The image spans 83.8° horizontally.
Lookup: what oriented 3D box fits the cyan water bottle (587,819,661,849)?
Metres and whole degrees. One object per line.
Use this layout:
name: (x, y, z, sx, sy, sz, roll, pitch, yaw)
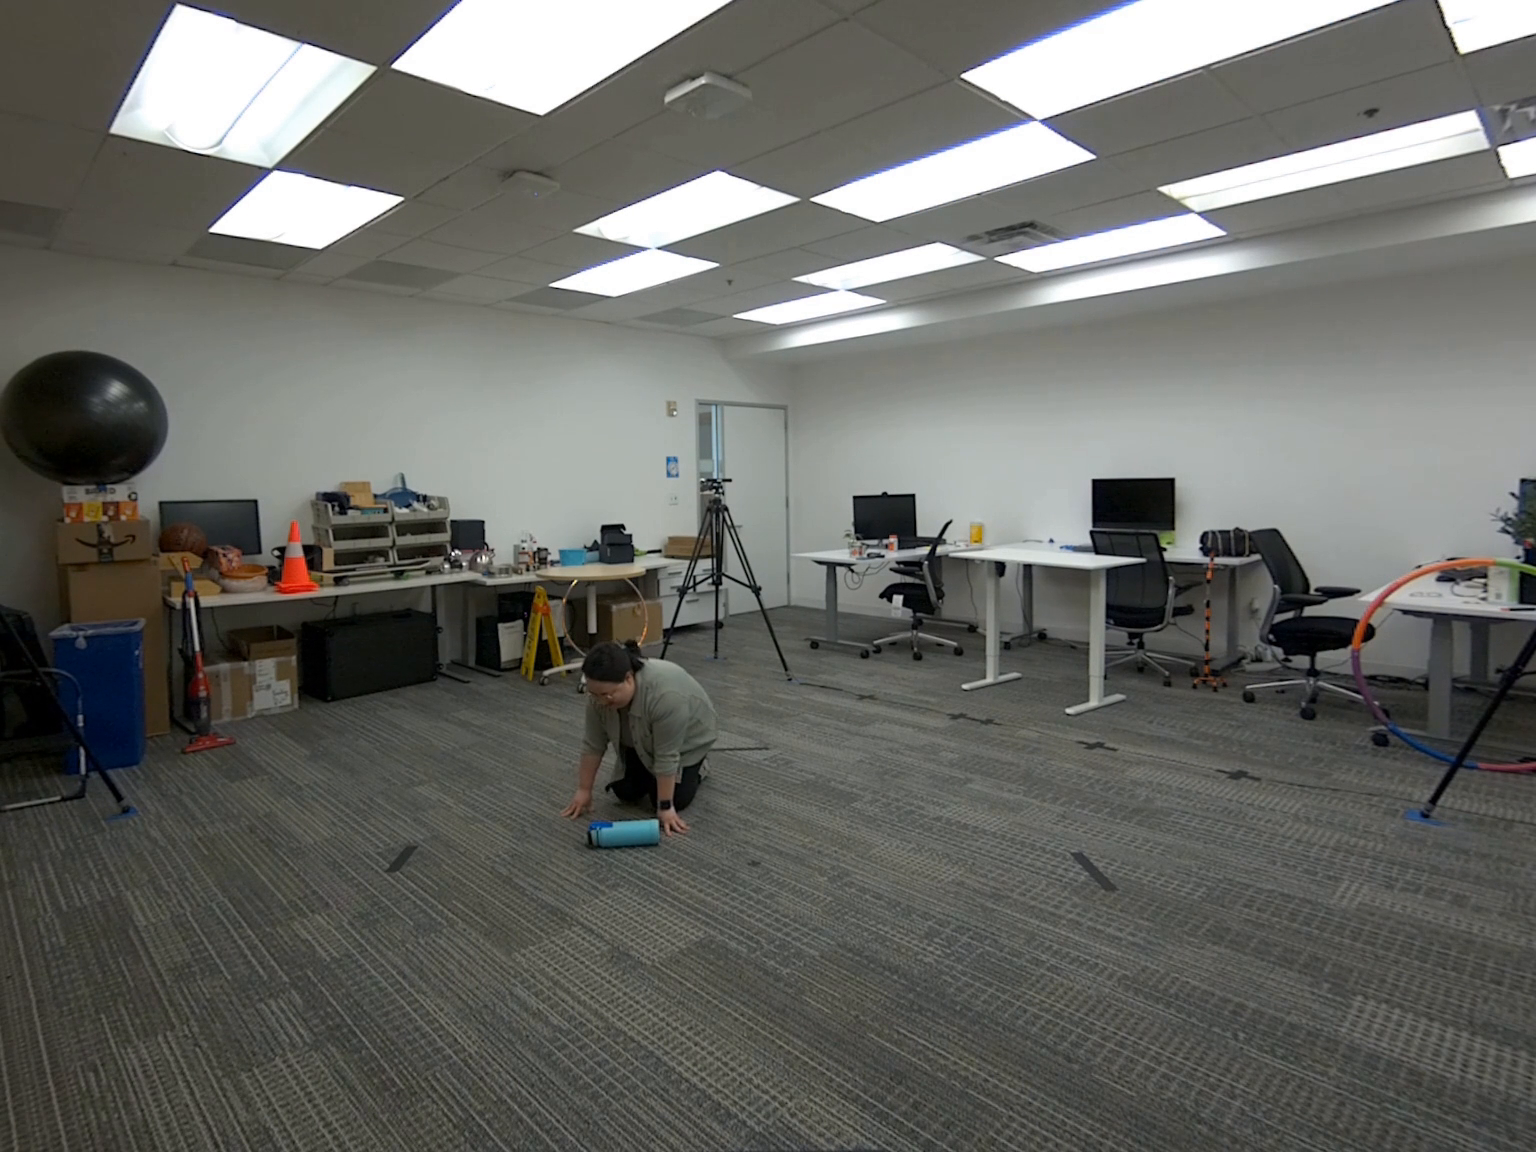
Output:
cyan water bottle: (-0.564, 0.990, 3.279, 0.282, 0.092, 0.093, -2, 5, -5)
